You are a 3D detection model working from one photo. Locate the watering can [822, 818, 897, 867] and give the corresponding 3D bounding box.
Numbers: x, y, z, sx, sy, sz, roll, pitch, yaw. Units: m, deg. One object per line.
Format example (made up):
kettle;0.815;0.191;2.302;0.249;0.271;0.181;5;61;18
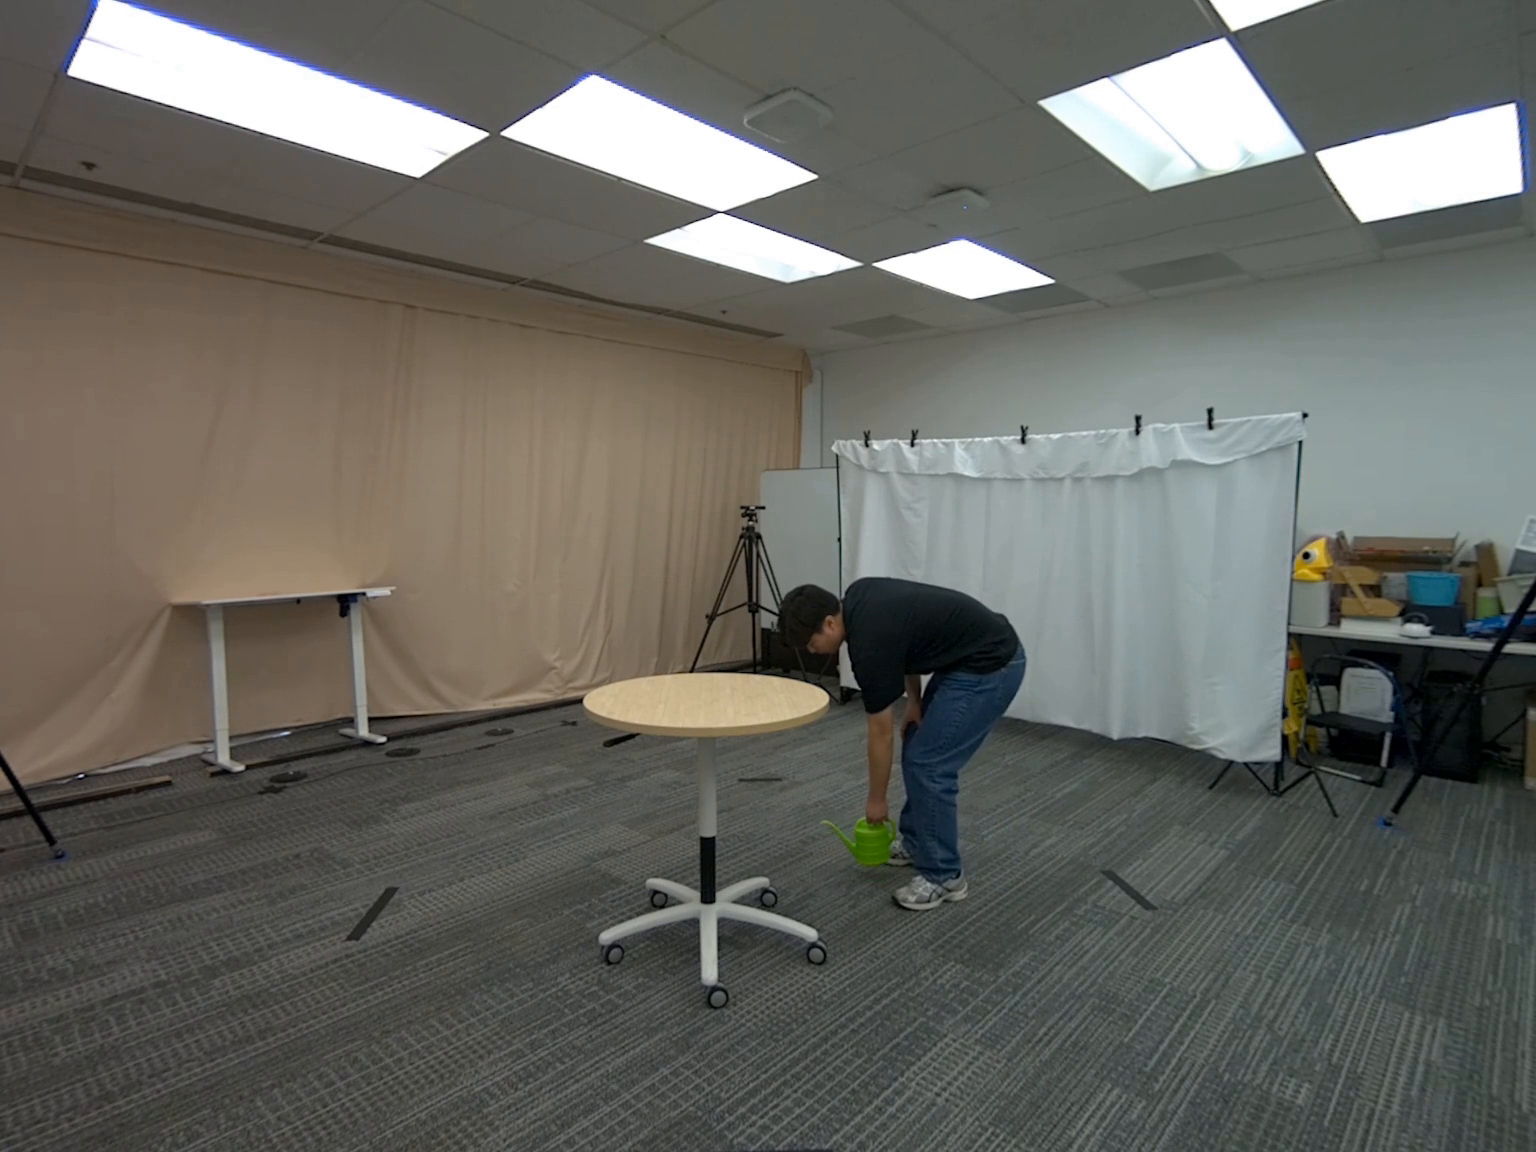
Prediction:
watering can;0.348;0.977;3.137;0.281;0.175;0.098;-1;10;9
